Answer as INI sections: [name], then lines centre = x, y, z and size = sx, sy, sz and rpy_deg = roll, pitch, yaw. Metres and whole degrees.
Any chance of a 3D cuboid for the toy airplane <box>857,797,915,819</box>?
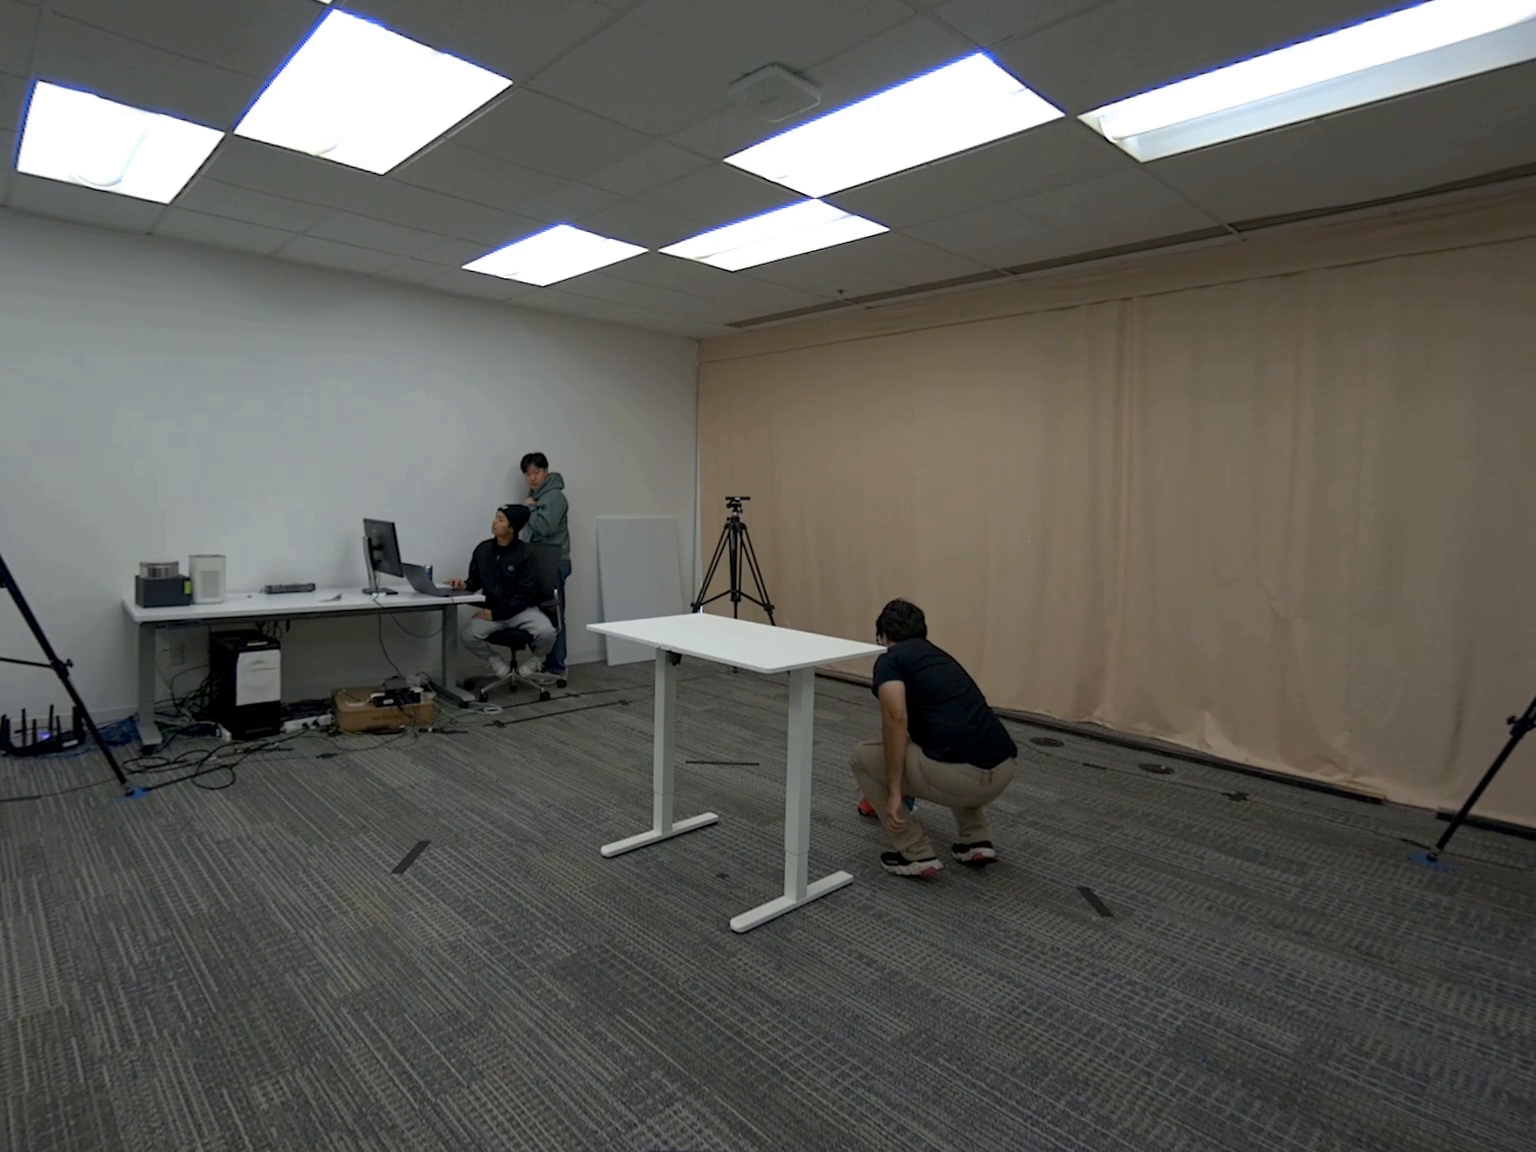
[toy airplane]
centre = 0.530, 0.997, 3.748
size = 0.261, 0.156, 0.250
rpy_deg = 0, 4, 7
